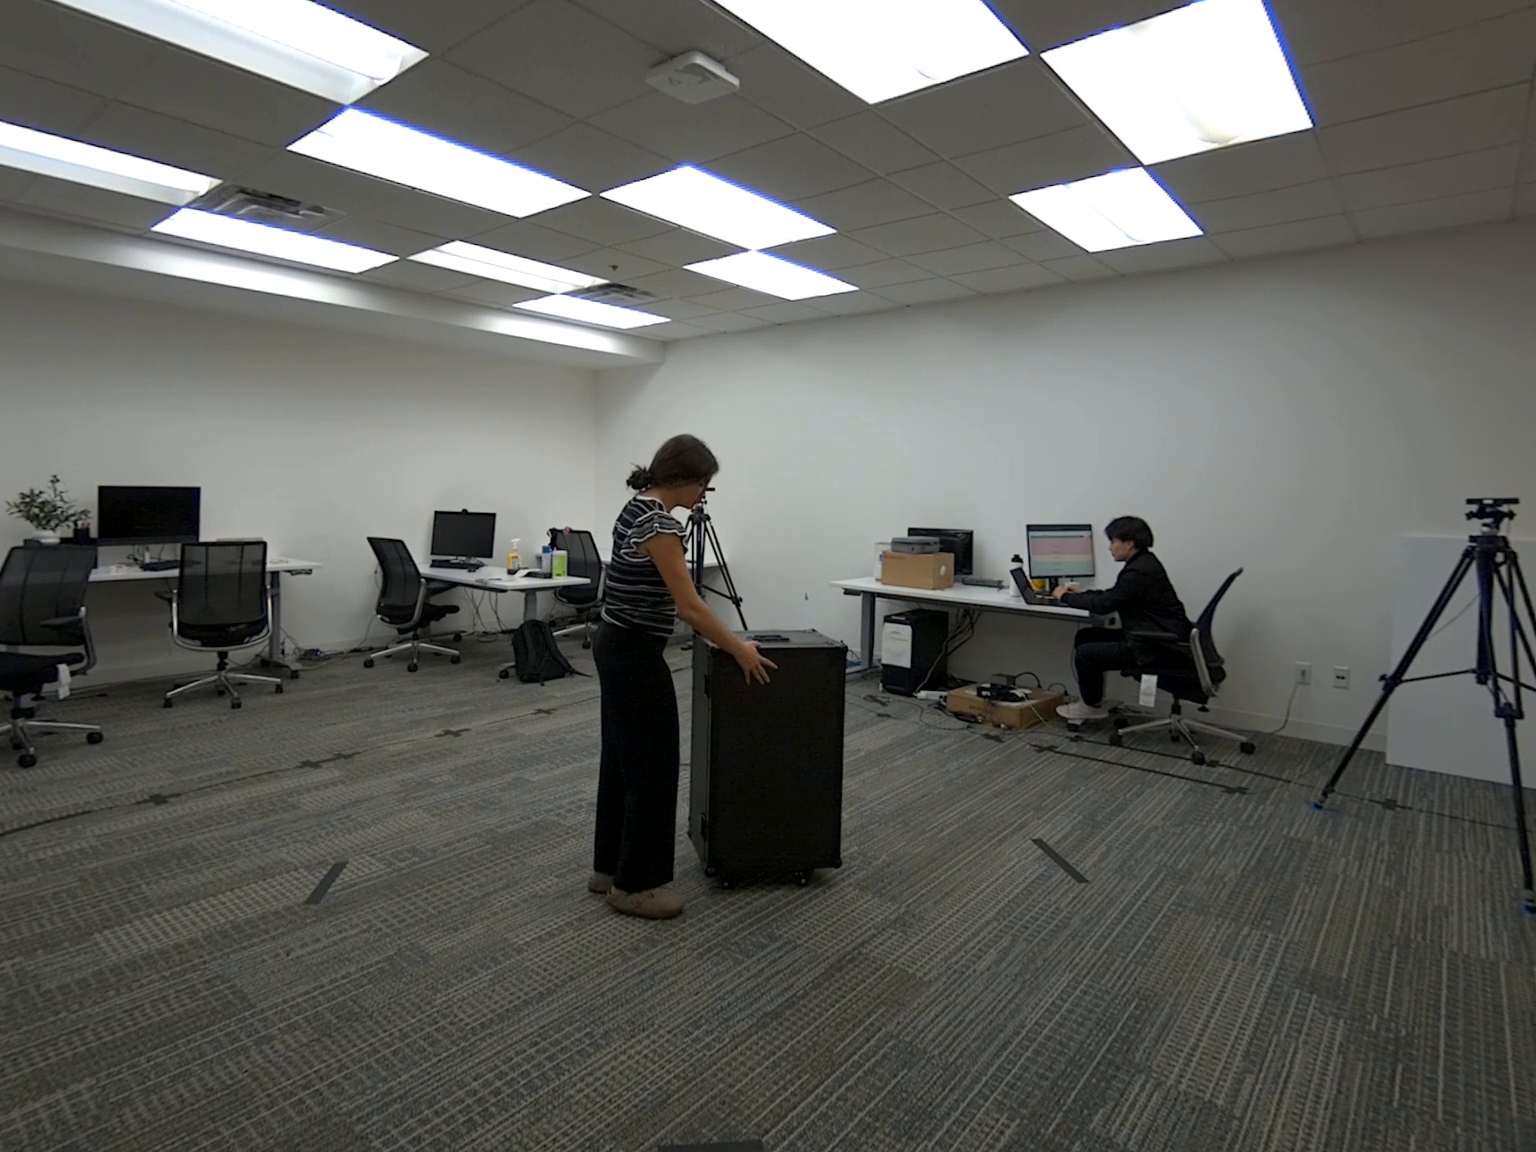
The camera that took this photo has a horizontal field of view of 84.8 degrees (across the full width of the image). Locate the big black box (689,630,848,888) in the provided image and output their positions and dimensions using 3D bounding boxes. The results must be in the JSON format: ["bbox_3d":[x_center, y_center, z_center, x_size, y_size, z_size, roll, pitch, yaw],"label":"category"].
[{"bbox_3d":[-0.031,0.652,3.097,0.515,0.859,0.402,0,3,-12],"label":"big black box"}]
